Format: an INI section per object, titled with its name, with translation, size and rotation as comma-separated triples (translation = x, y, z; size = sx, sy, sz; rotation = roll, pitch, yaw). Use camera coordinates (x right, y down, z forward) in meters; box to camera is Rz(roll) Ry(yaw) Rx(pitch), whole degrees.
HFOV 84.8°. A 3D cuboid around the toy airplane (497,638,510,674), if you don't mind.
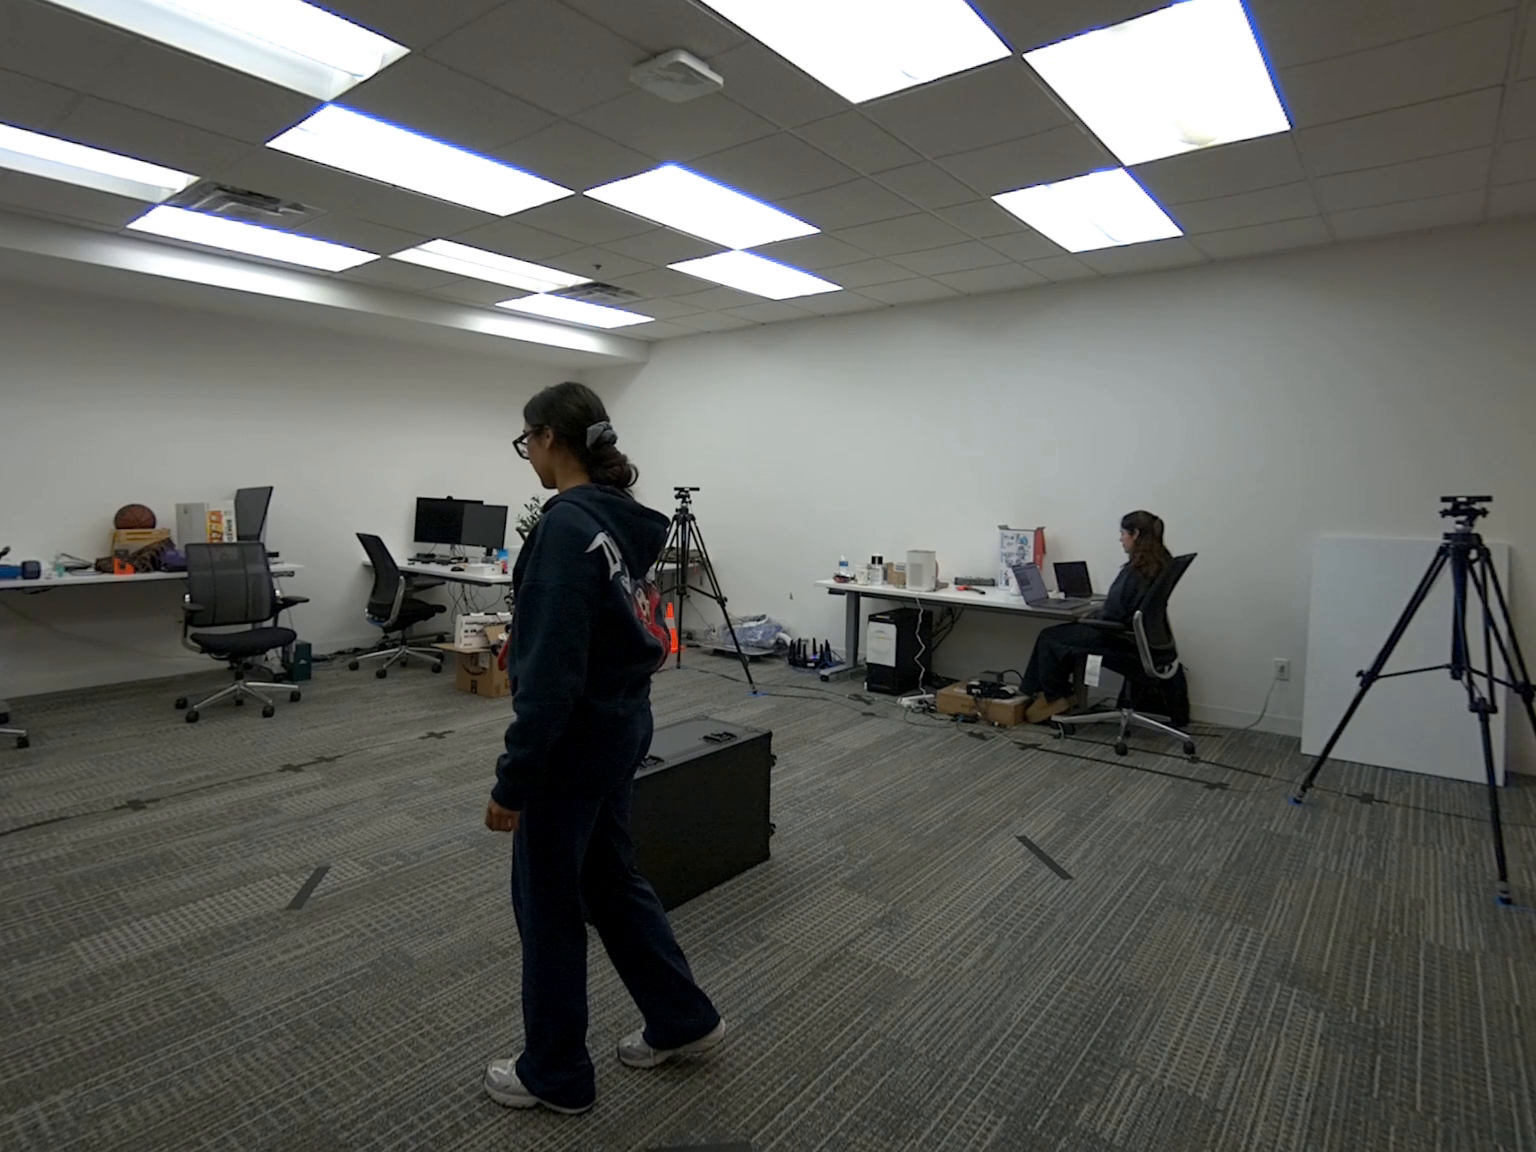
[toy airplane]
translation = -0.648, 0.148, 2.328
size = 0.156, 0.254, 0.256
rotation = 22, -23, -1
